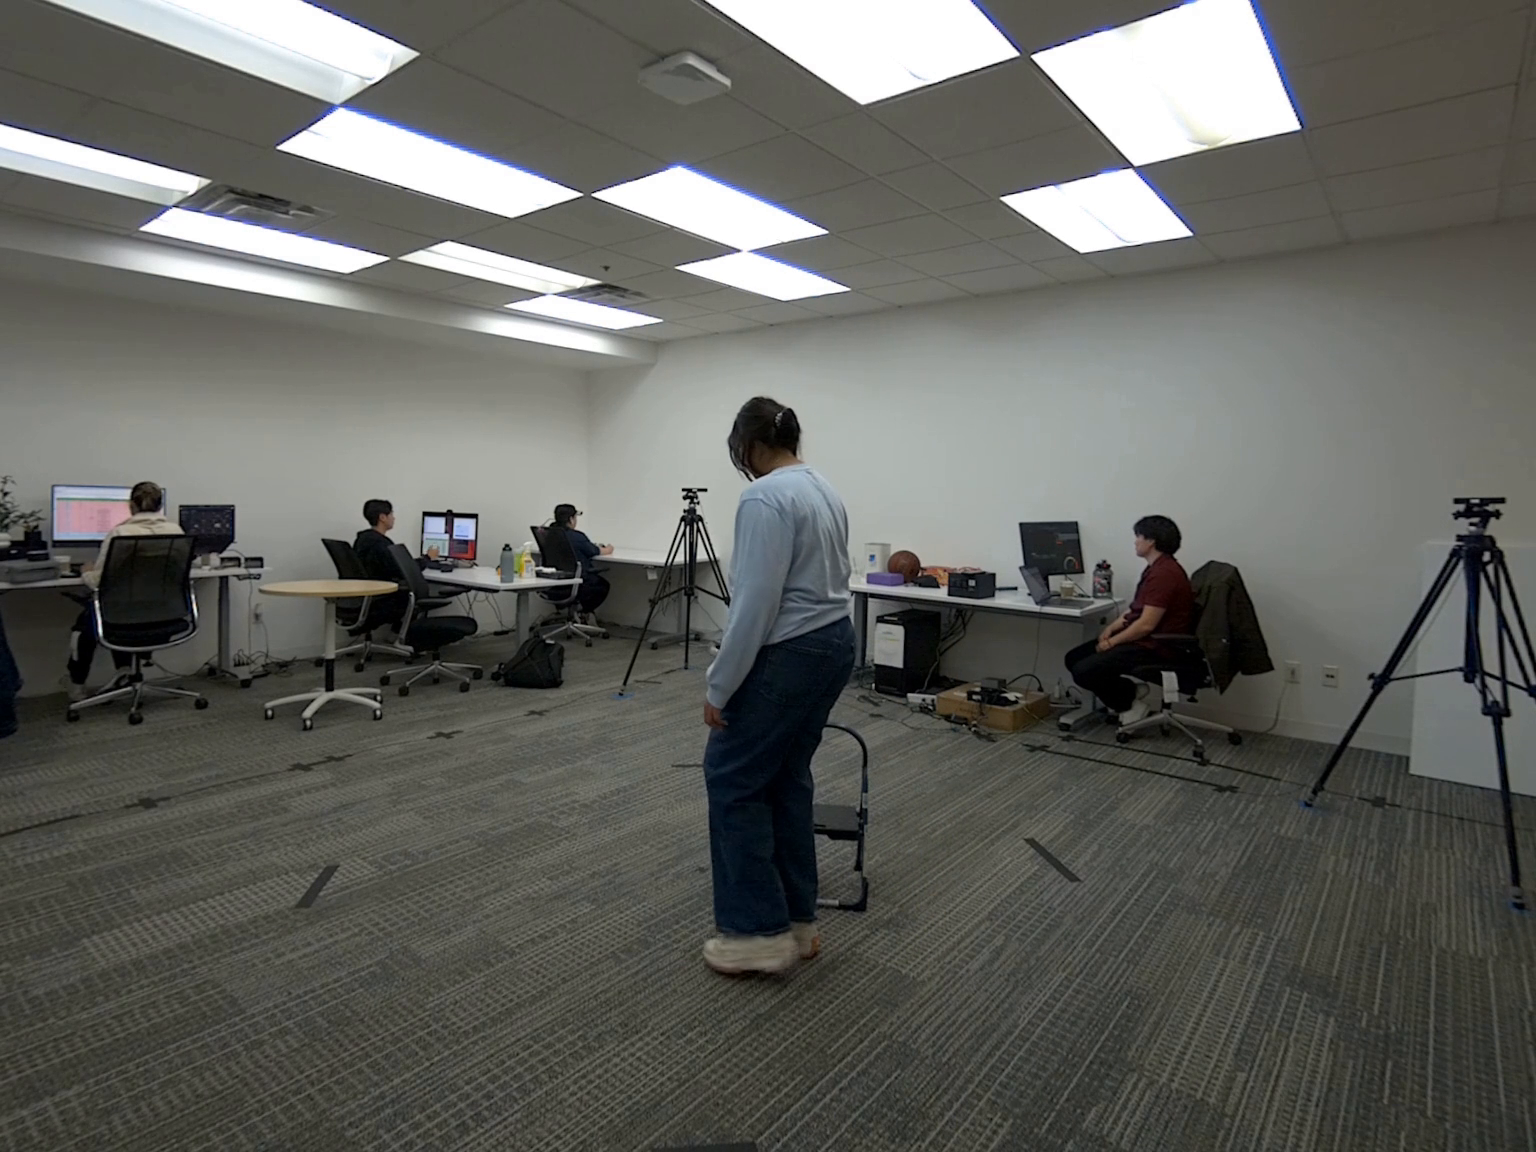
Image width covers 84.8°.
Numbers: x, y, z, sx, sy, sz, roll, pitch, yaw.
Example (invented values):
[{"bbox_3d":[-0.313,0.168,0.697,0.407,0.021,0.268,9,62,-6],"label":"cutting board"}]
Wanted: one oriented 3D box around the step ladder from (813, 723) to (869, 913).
[{"bbox_3d":[0.134,0.785,2.994,0.433,0.604,0.348,1,3,4],"label":"step ladder"}]
